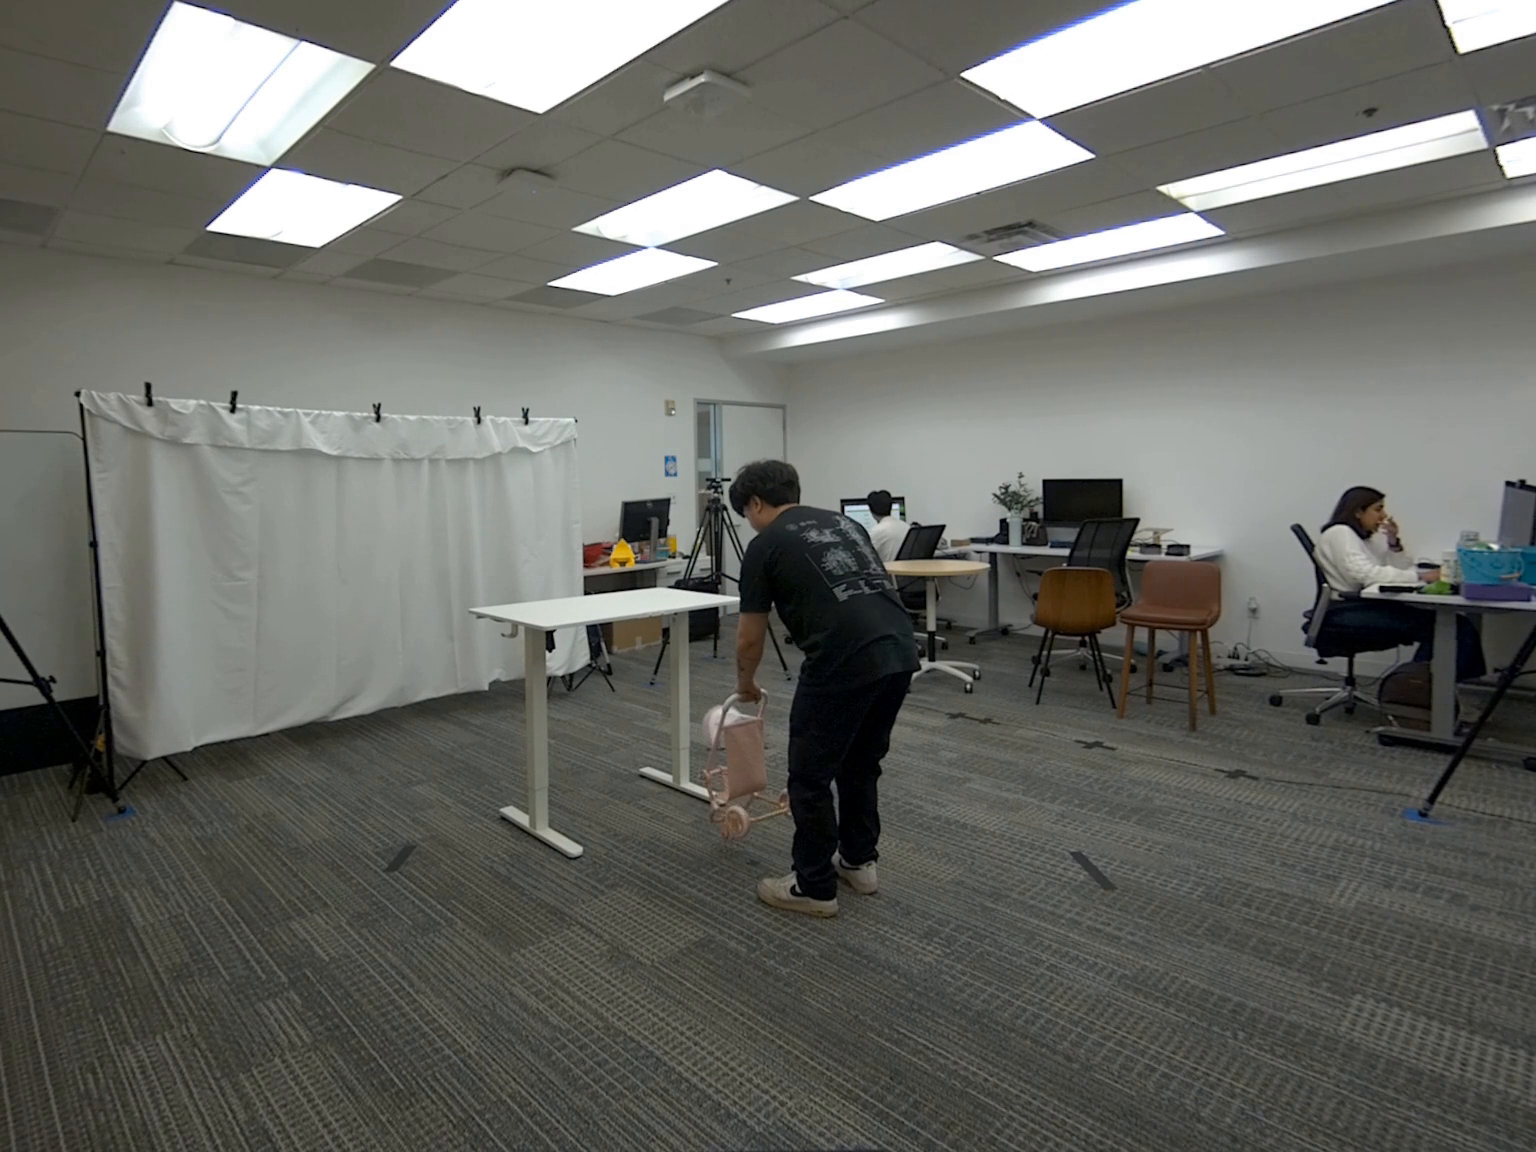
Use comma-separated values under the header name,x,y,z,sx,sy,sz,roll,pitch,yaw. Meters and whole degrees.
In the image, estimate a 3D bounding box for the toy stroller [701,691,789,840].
name,x,y,z,sx,sy,sz,roll,pitch,yaw
toy stroller,-0.106,0.708,3.154,0.274,0.540,0.347,-5,-10,-36
